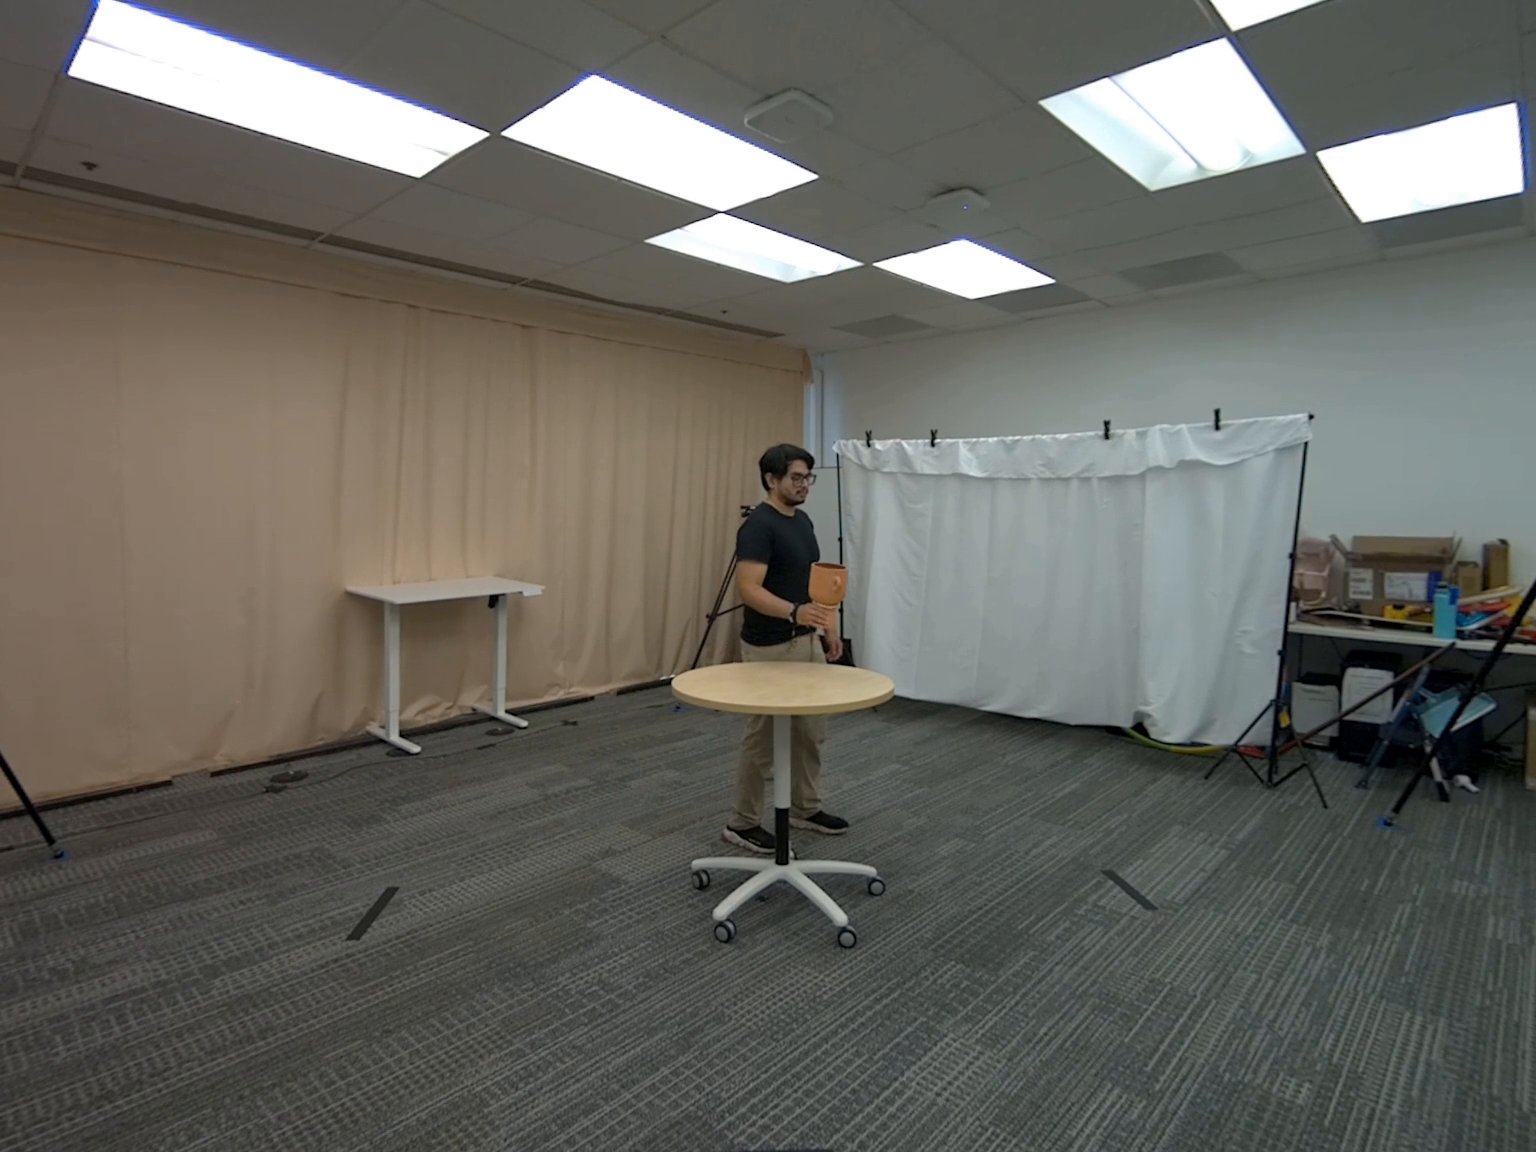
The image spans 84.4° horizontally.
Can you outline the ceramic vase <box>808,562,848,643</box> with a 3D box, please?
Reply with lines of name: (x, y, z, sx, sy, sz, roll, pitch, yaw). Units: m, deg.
ceramic vase: (0.210, 0.075, 3.037, 0.138, 0.218, 0.156, 10, 11, 19)
